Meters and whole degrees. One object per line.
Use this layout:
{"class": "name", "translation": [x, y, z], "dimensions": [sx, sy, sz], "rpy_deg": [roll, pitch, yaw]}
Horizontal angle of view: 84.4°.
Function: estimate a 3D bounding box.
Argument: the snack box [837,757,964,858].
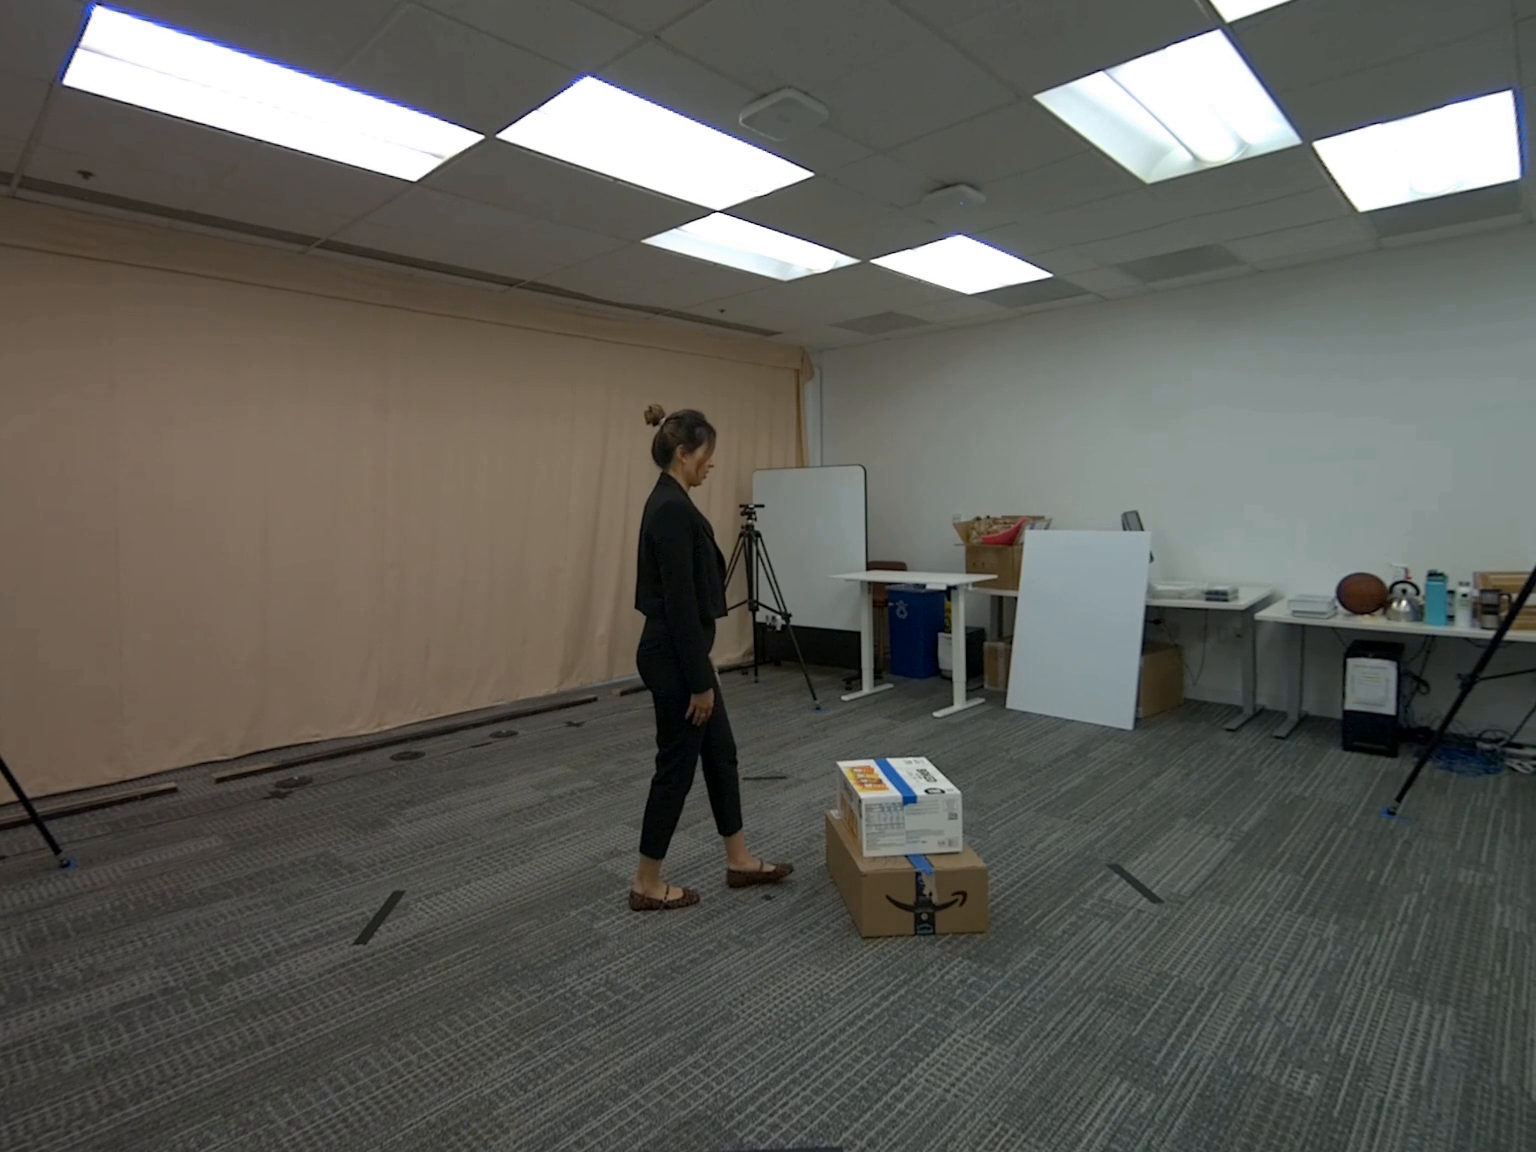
{"class": "snack box", "translation": [0.460, 0.814, 2.990], "dimensions": [0.338, 0.205, 0.408], "rpy_deg": [-3, 5, -6]}
